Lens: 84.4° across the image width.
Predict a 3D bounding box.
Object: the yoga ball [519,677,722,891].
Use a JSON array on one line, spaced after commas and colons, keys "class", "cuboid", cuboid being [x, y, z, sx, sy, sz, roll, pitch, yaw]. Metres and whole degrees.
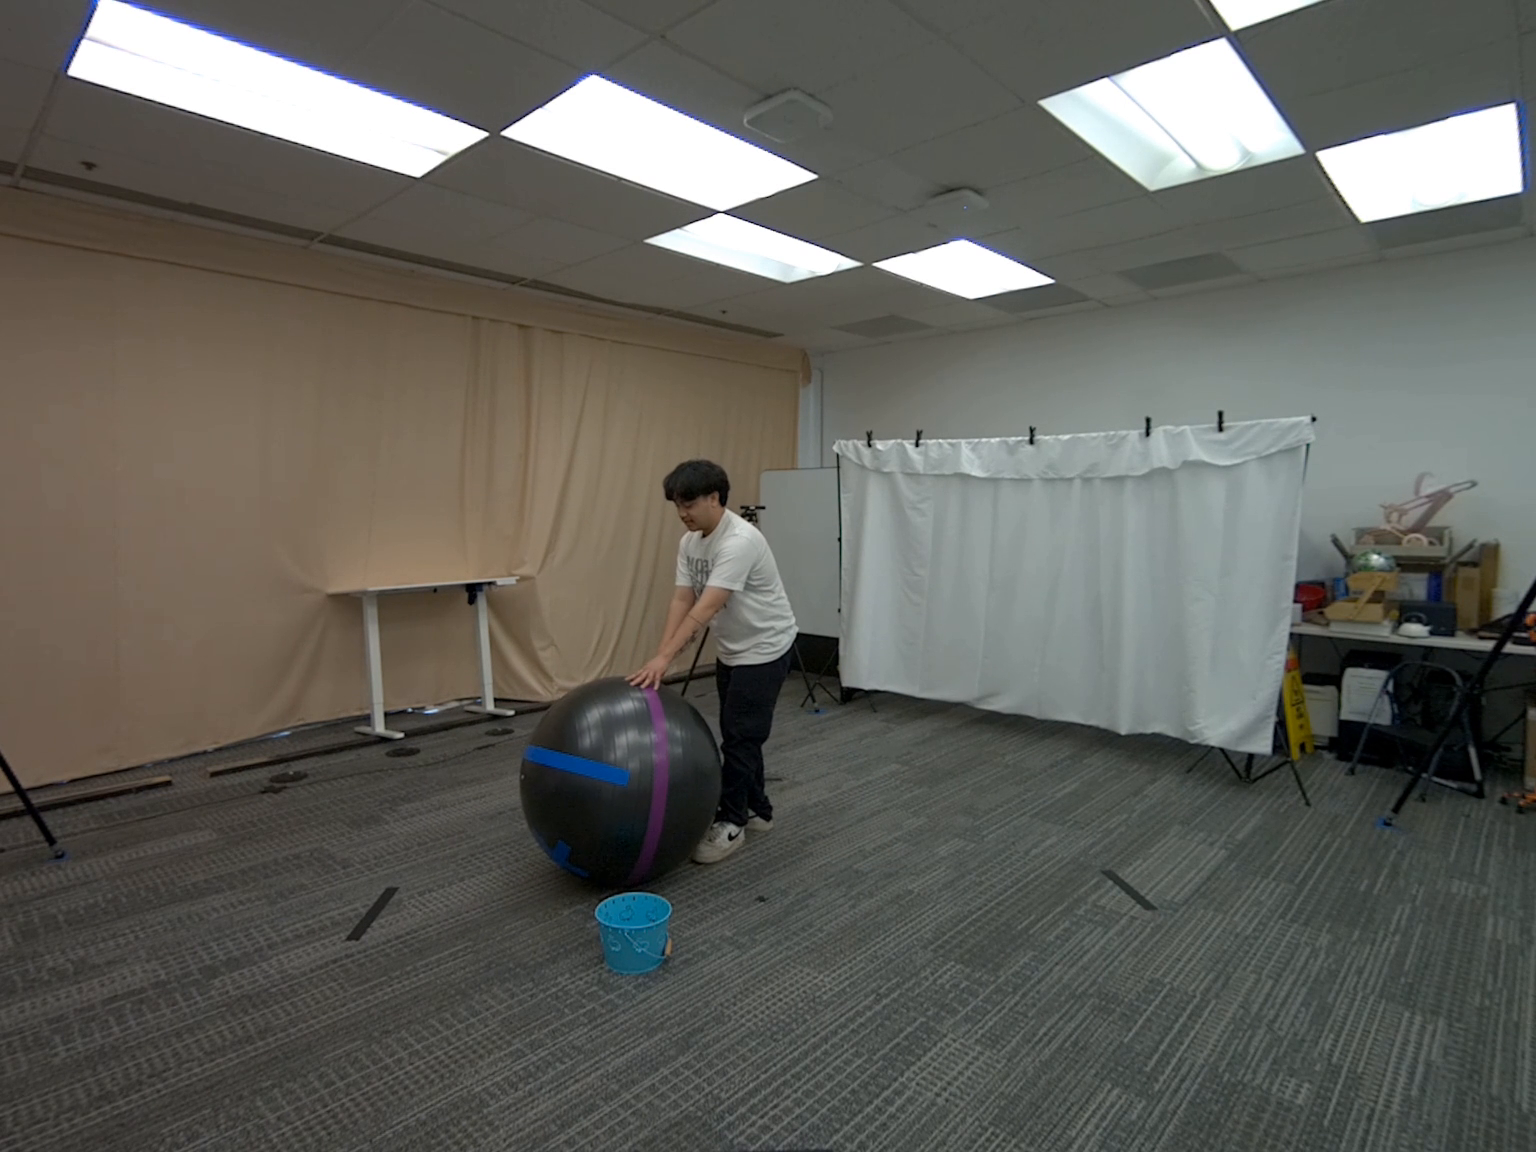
[{"class": "yoga ball", "cuboid": [-0.565, 0.768, 3.191, 0.757, 0.756, 0.760, 0, 4, -2]}]
